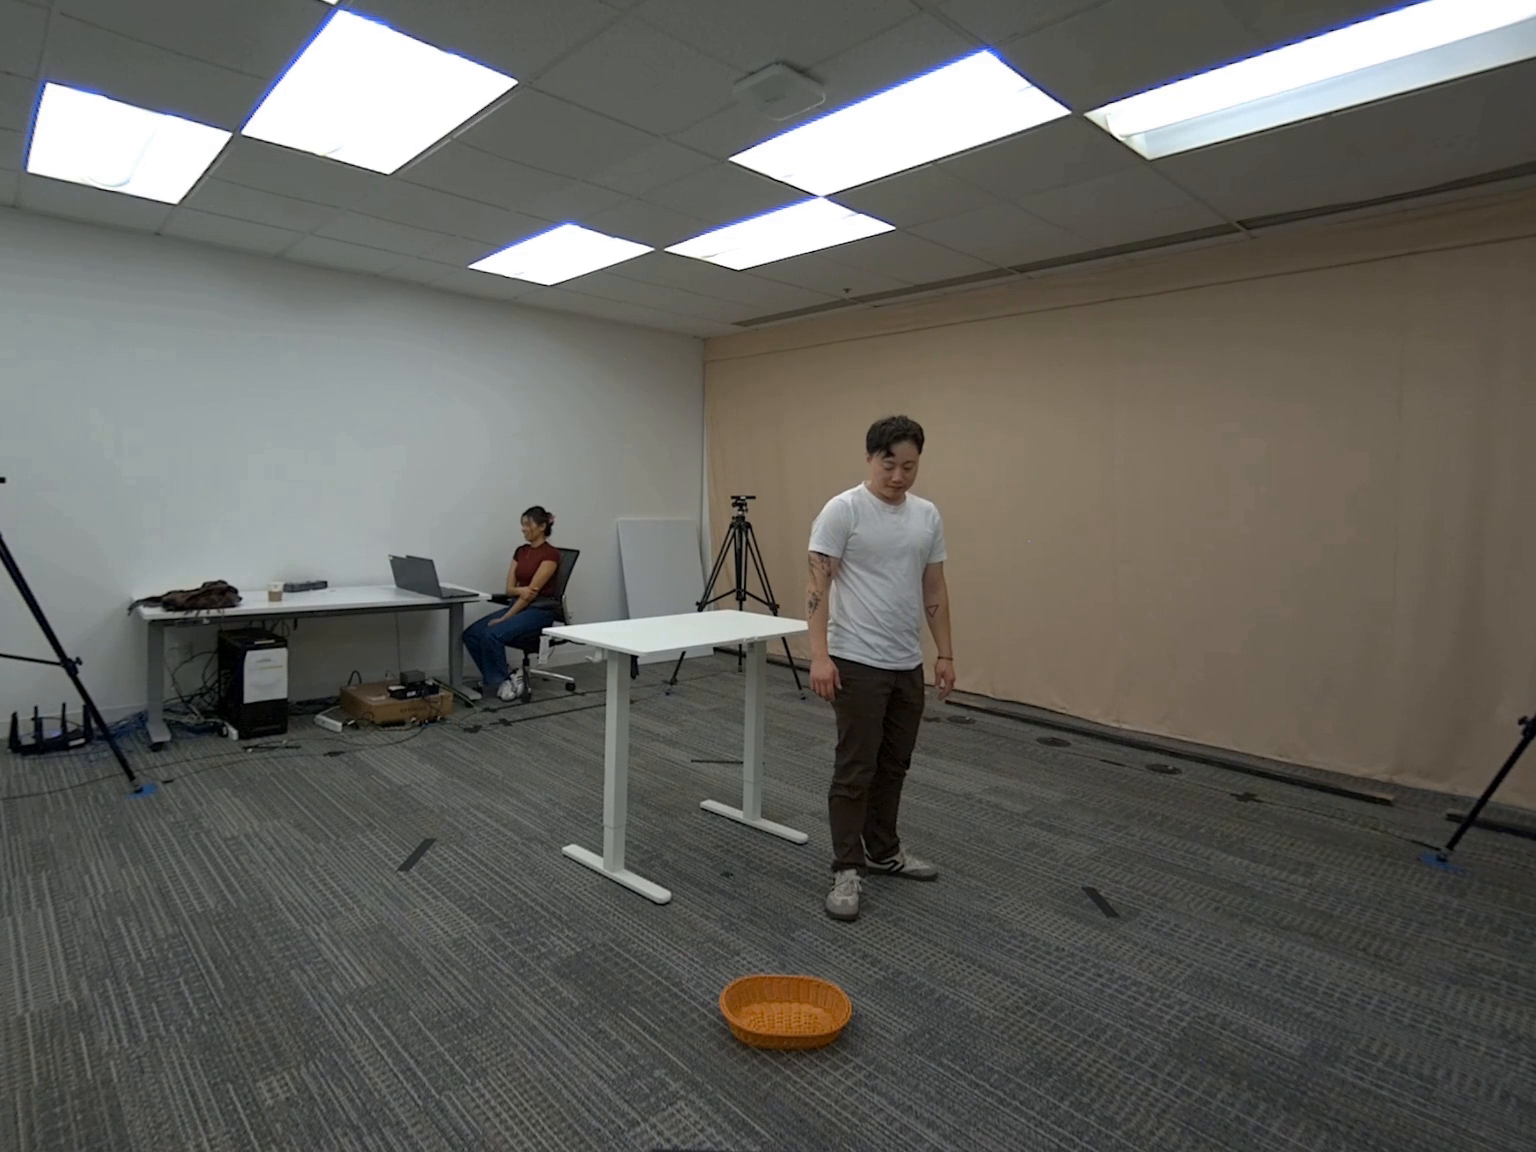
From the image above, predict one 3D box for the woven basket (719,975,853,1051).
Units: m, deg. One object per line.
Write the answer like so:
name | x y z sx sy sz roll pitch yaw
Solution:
woven basket | 0.039 1.153 2.209 0.351 0.073 0.253 2 6 3
